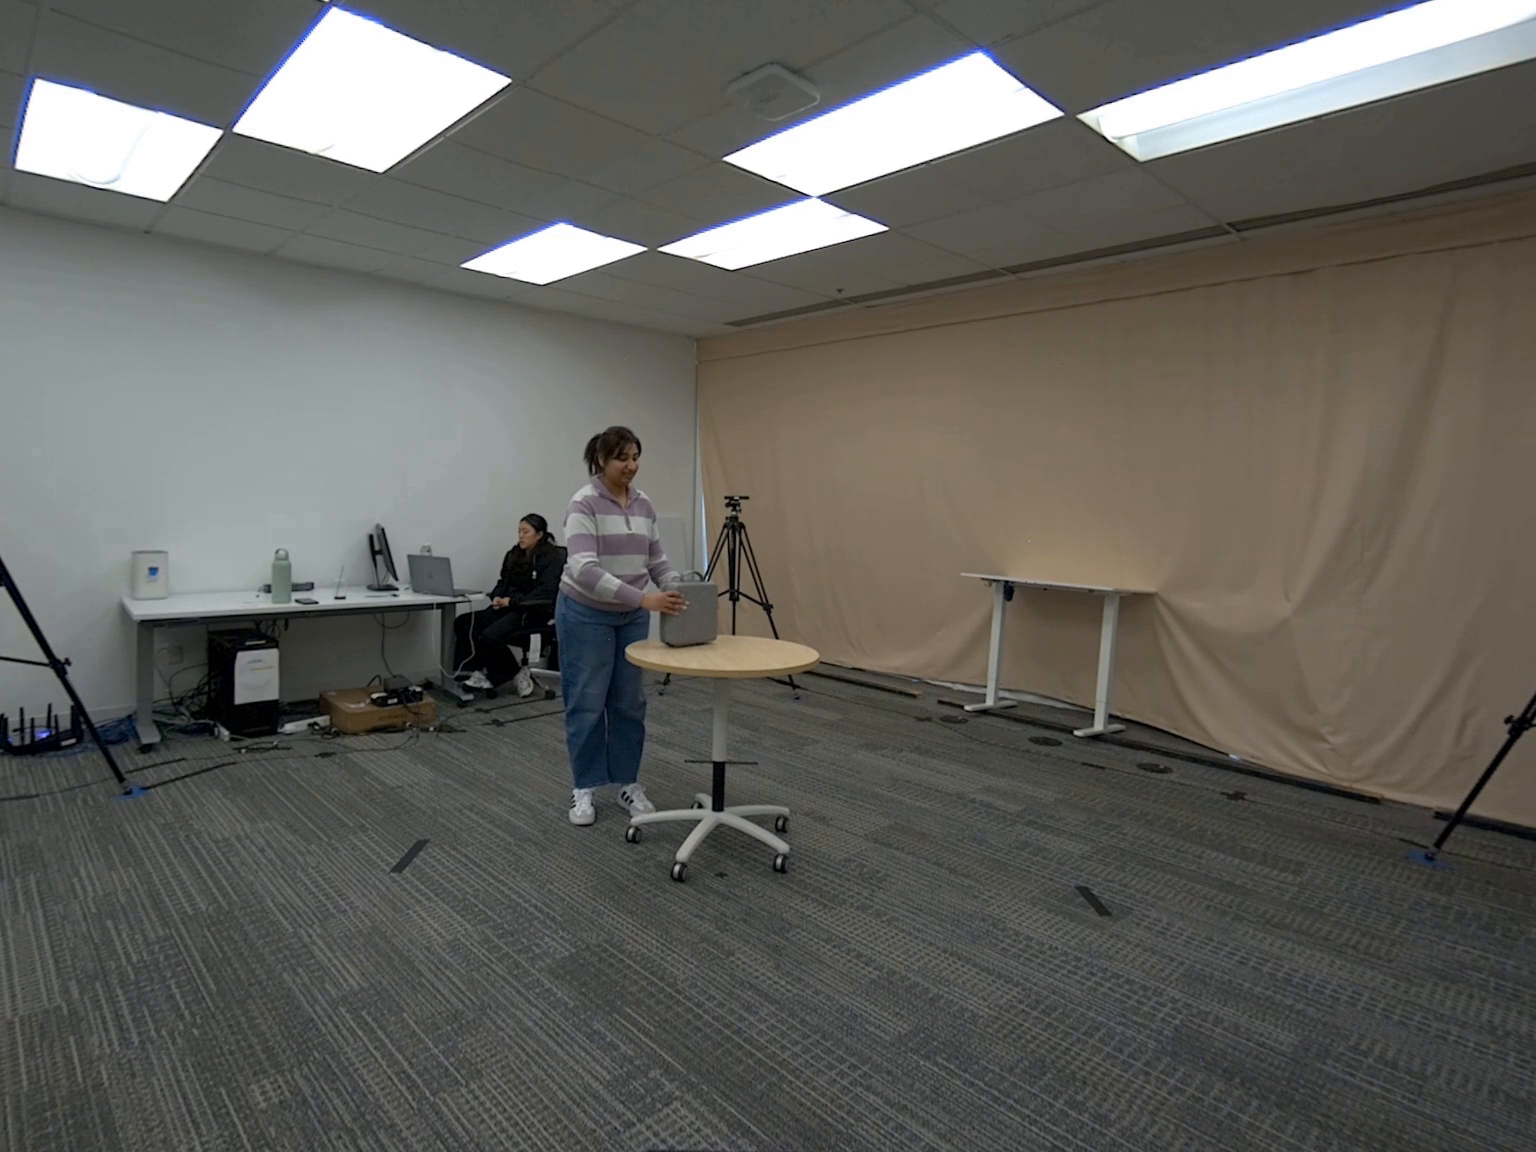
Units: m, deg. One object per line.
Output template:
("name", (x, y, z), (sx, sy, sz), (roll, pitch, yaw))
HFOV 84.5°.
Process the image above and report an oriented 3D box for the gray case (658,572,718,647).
("gray case", (-0.326, 0.143, 3.446), (0.251, 0.260, 0.107), (-1, 3, -43))
